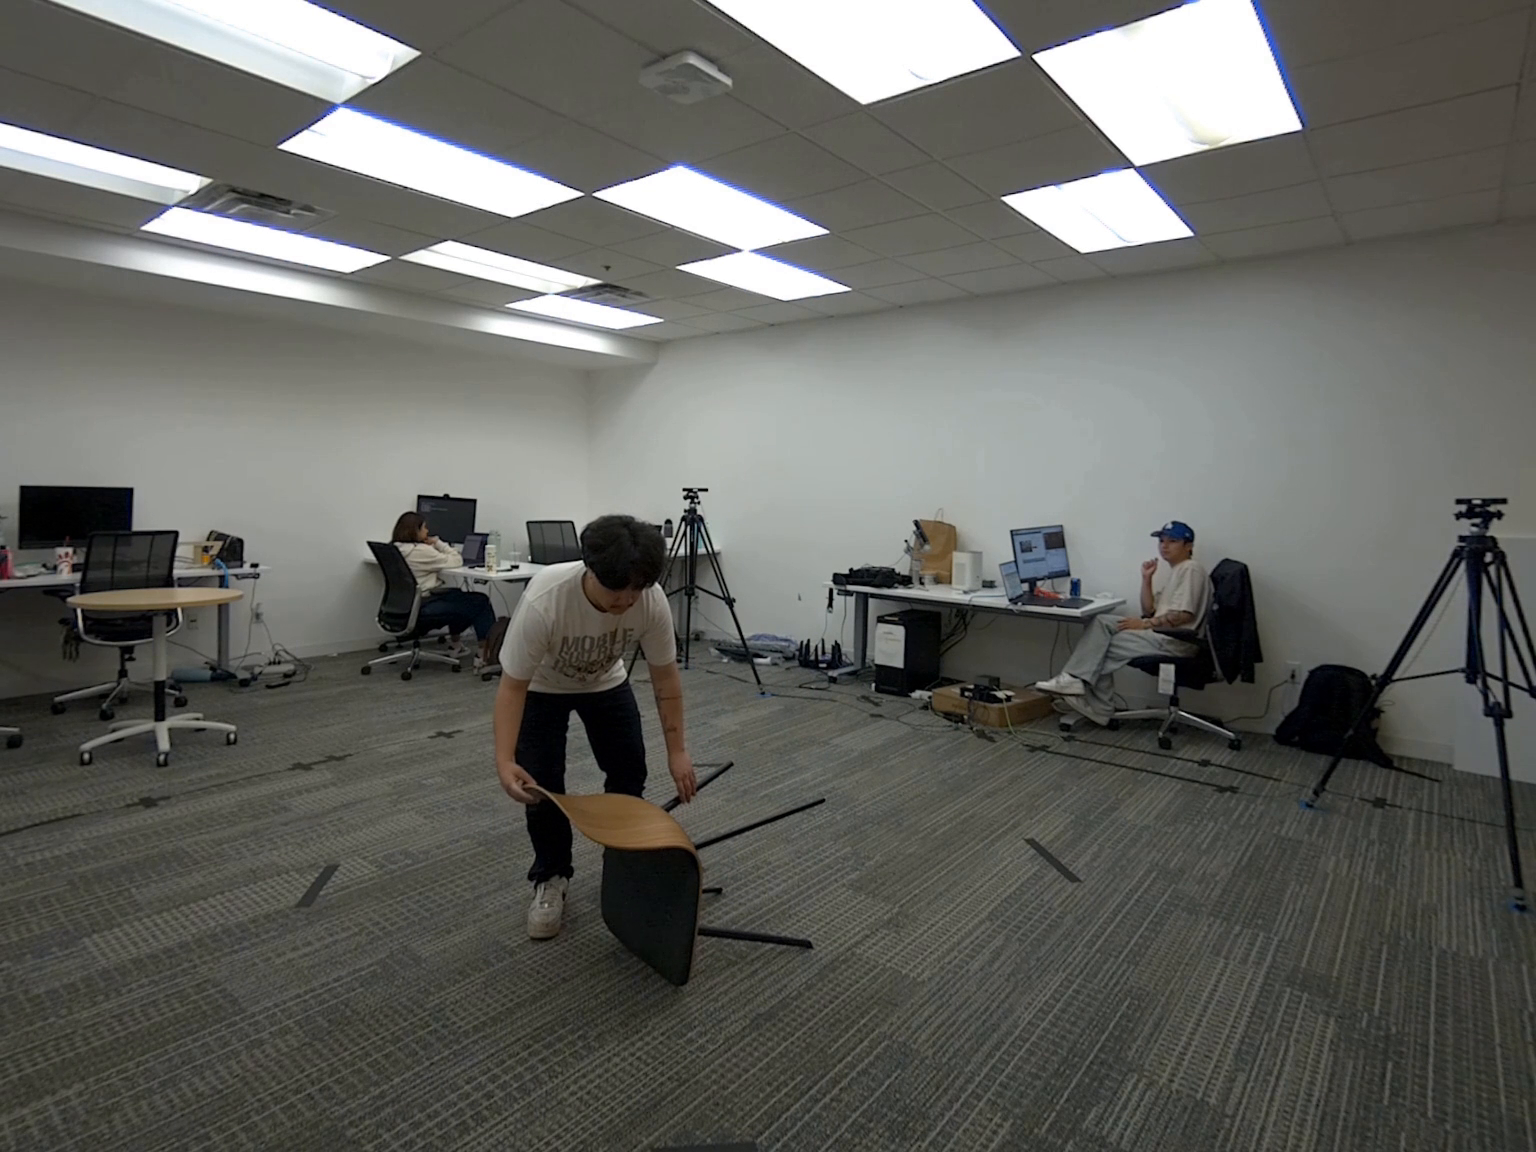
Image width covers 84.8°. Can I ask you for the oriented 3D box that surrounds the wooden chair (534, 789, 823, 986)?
[{"bbox_3d":[-0.321,0.869,2.495,0.847,0.524,0.495,8,-1,-42],"label":"wooden chair"}]
